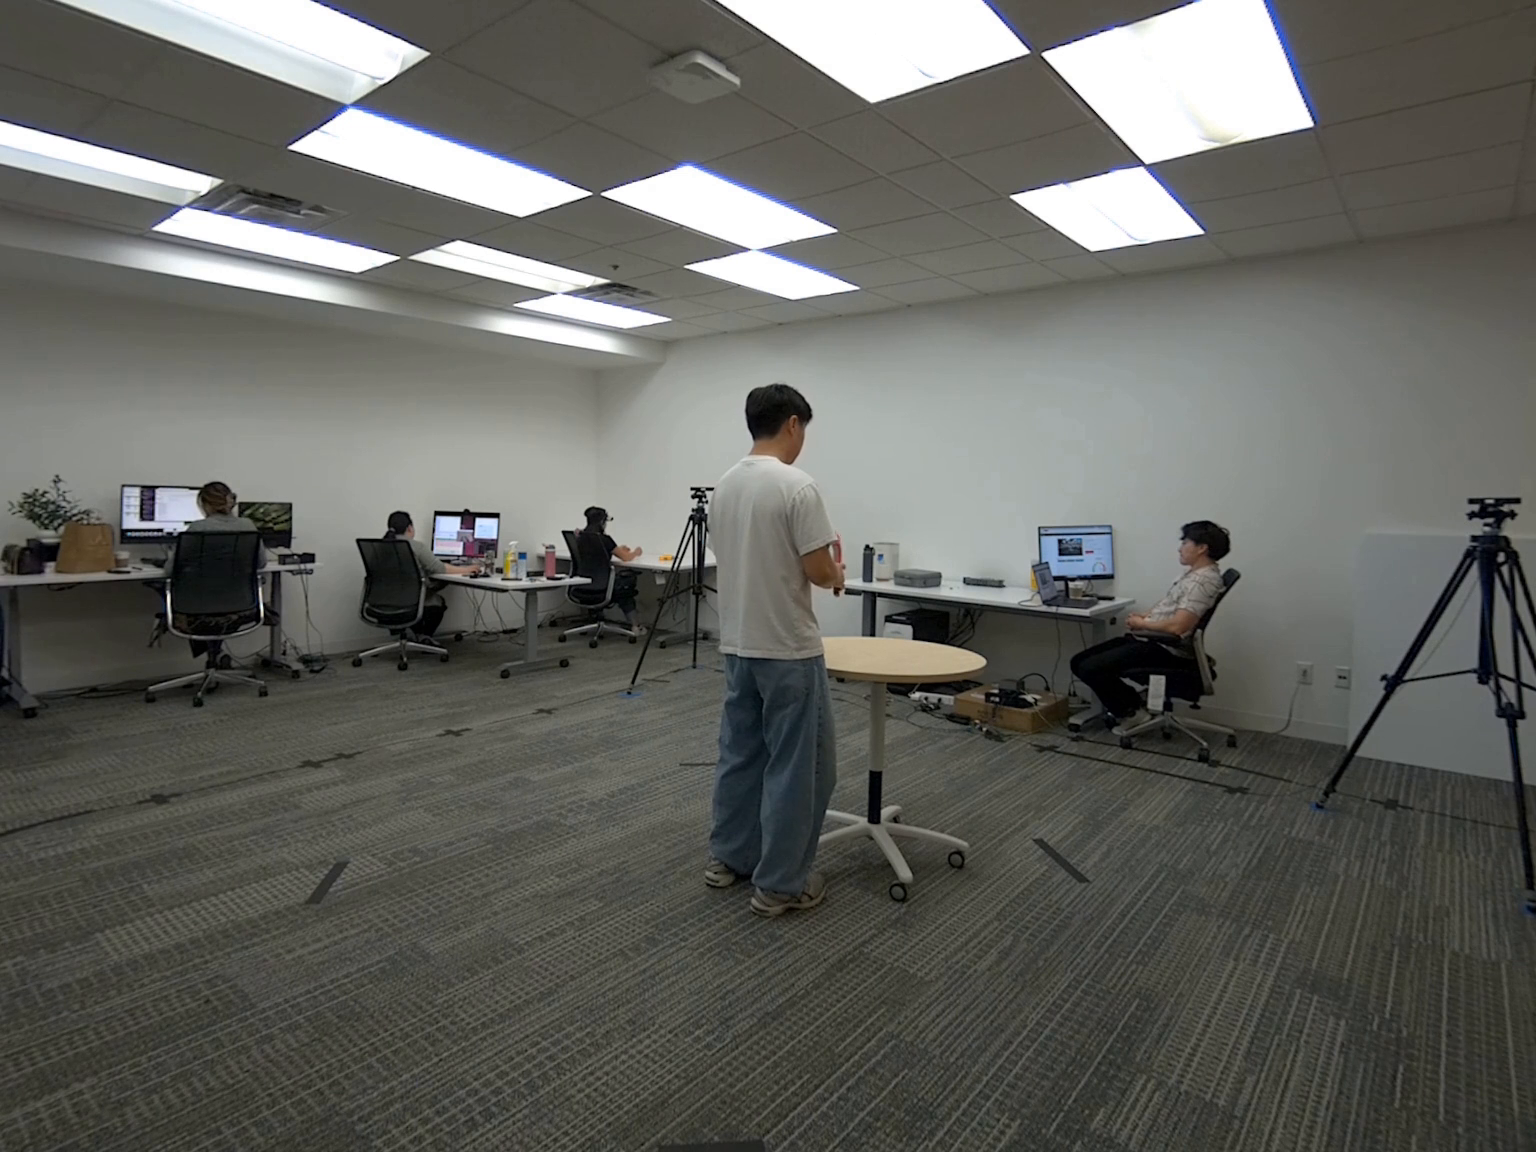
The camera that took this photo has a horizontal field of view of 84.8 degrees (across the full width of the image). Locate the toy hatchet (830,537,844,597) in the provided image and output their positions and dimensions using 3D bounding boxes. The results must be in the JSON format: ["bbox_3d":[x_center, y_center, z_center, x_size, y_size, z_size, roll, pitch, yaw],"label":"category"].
[{"bbox_3d":[0.238,-0.029,3.053,0.030,0.276,0.126,-2,-35,13],"label":"toy hatchet"}]
